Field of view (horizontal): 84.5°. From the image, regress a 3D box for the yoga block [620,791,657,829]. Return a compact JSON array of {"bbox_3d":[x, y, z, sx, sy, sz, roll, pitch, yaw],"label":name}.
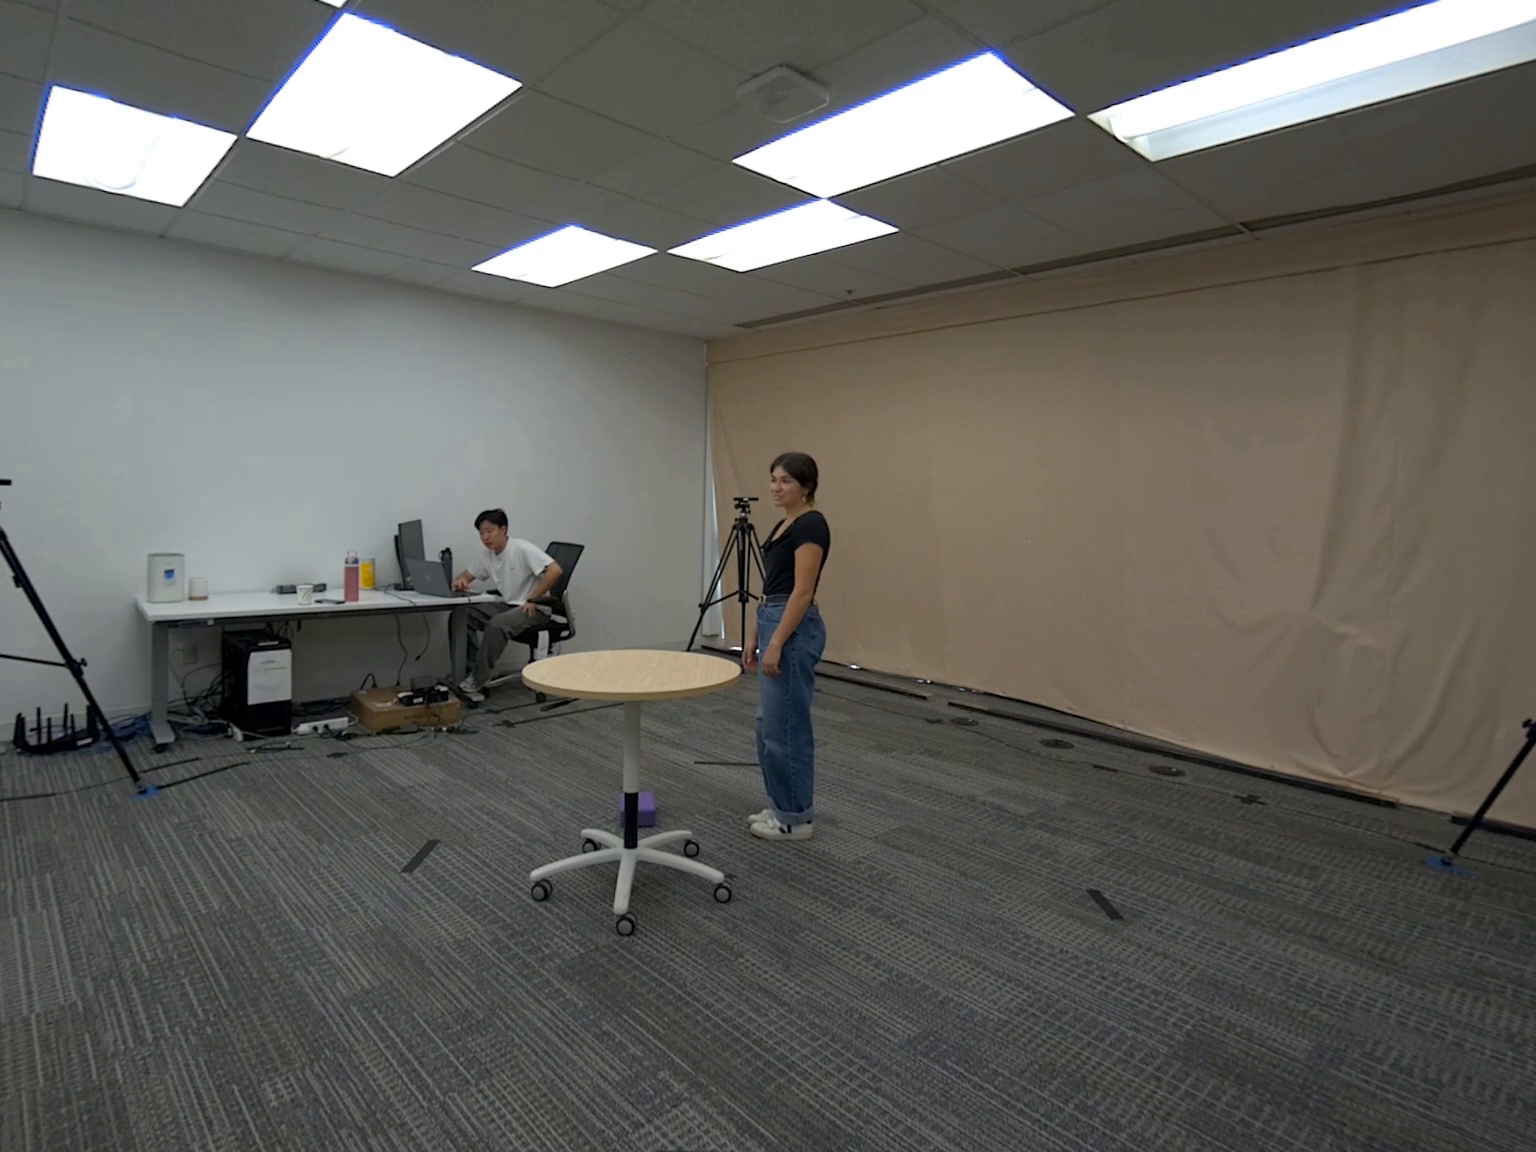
[{"bbox_3d":[-0.570,1.005,3.658,0.148,0.076,0.232,1,8,-9],"label":"yoga block"}]
